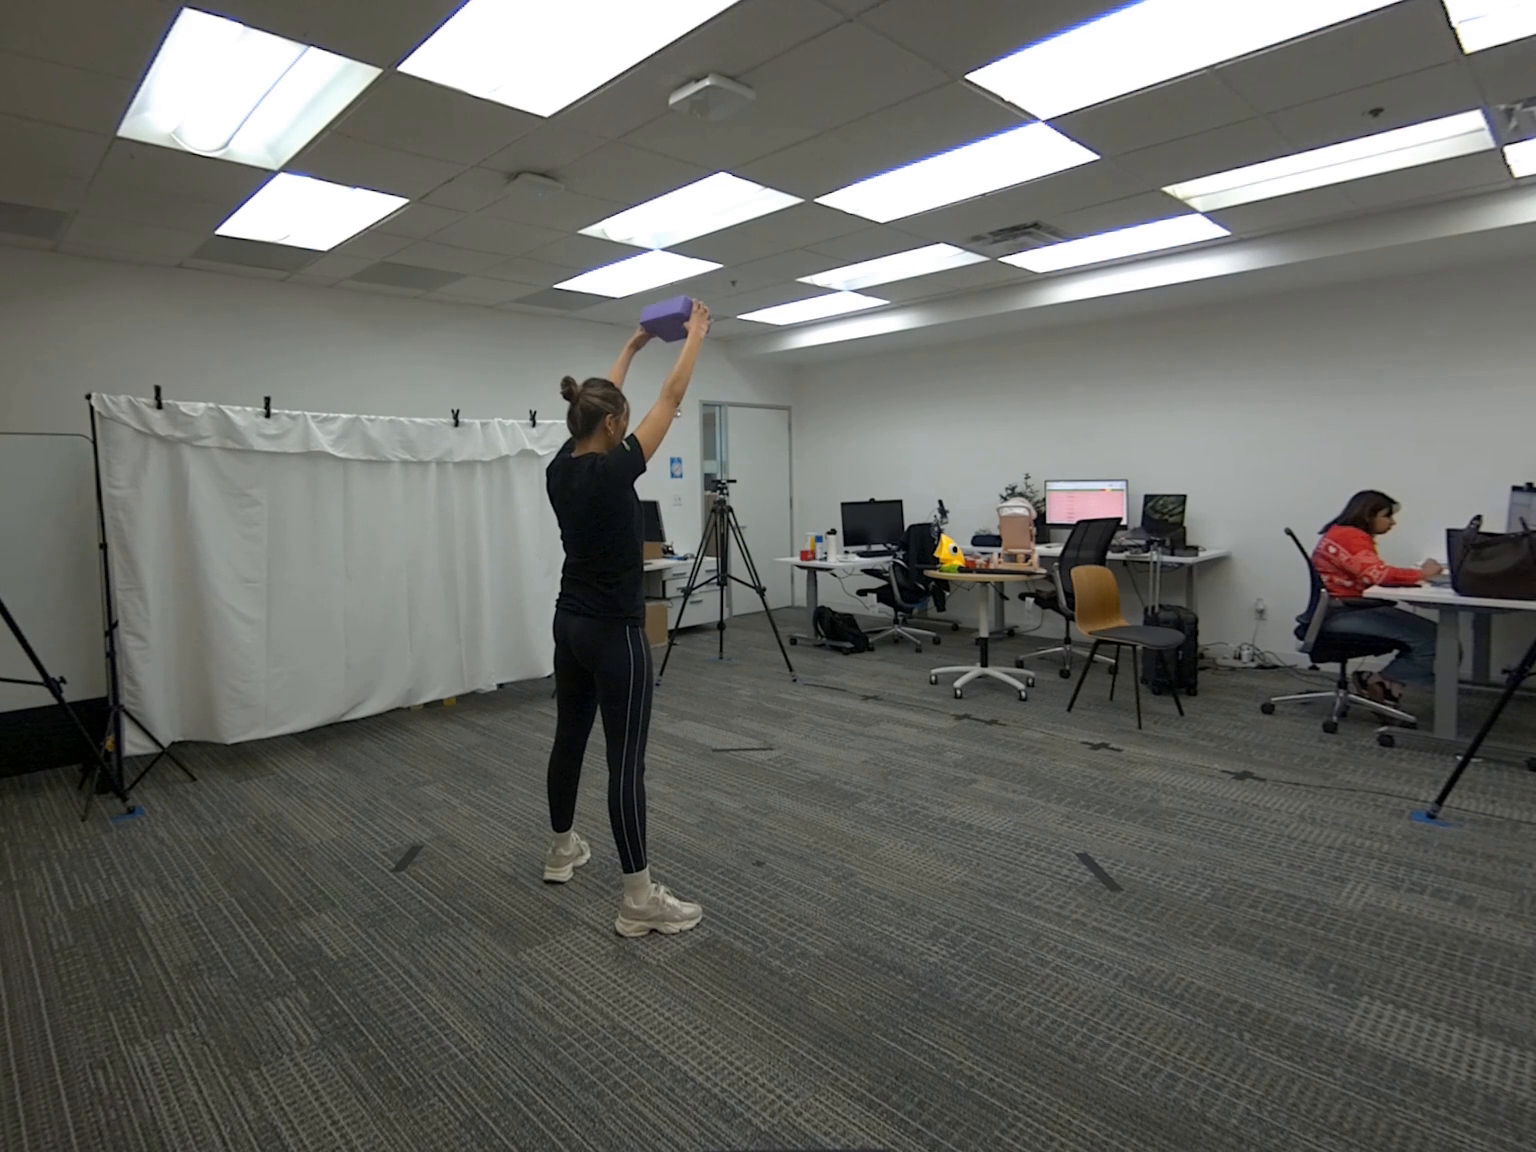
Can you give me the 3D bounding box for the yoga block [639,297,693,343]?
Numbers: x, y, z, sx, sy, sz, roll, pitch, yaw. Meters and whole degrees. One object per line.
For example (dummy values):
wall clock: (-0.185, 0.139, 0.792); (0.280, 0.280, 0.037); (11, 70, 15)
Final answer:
yoga block: (-0.334, -0.902, 3.015); (0.143, 0.077, 0.236); (24, -14, -41)
